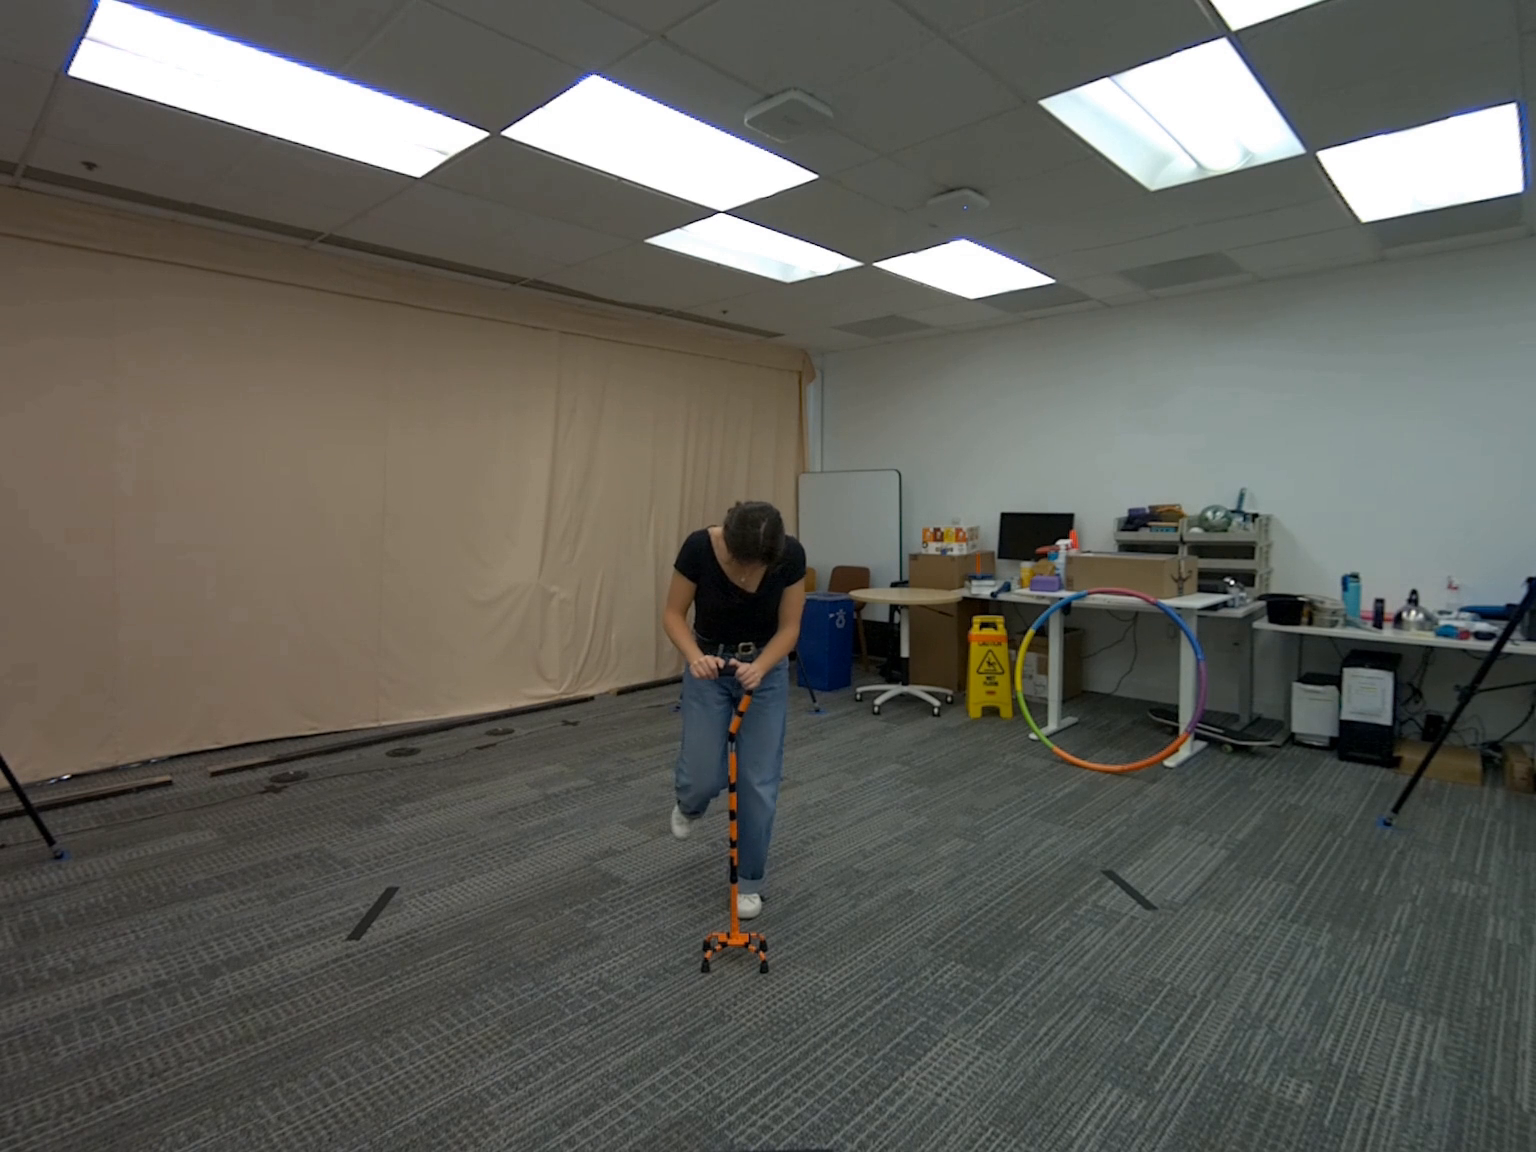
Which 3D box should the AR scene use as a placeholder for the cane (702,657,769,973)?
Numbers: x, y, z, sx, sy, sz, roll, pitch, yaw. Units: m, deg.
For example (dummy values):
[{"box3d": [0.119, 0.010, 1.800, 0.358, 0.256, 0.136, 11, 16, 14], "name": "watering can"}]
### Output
[{"box3d": [-0.101, 0.718, 2.555, 0.206, 0.906, 0.152, 0, 3, -1], "name": "cane"}]
